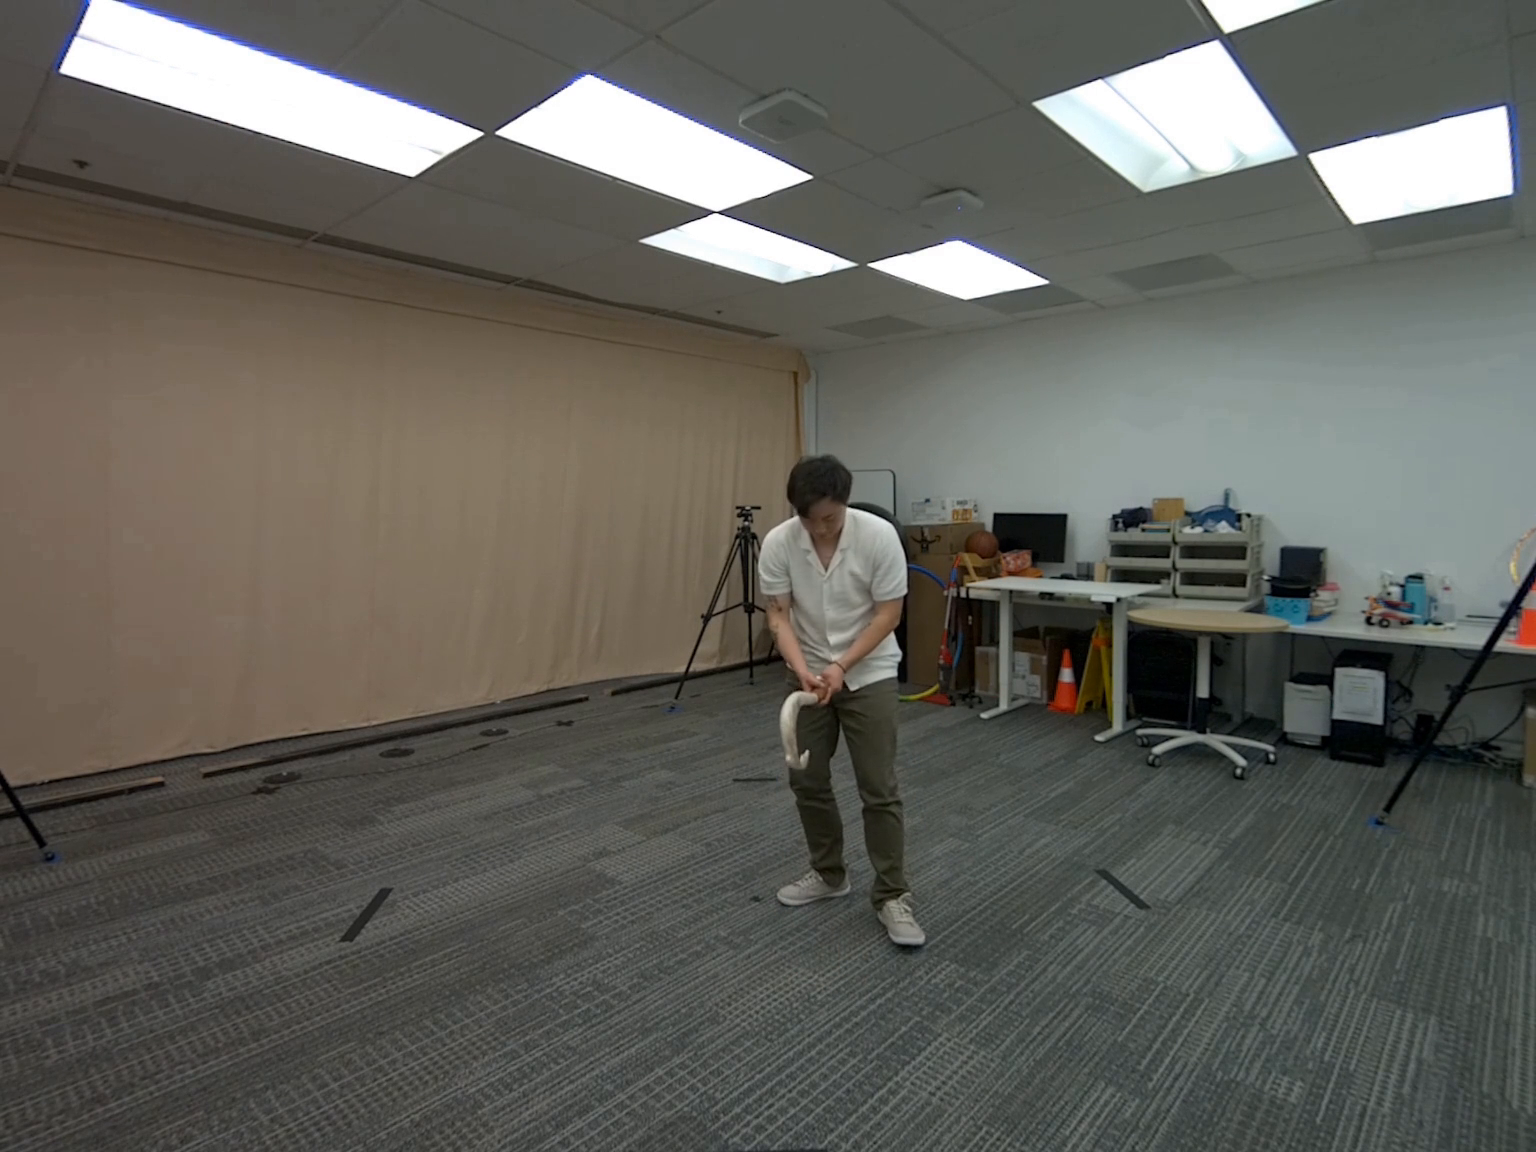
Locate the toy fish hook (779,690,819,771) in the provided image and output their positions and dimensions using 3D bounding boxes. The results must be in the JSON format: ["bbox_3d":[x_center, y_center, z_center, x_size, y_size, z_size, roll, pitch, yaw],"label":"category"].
[{"bbox_3d":[0.127,0.447,2.553,0.049,0.224,0.498,0,7,19],"label":"toy fish hook"}]
